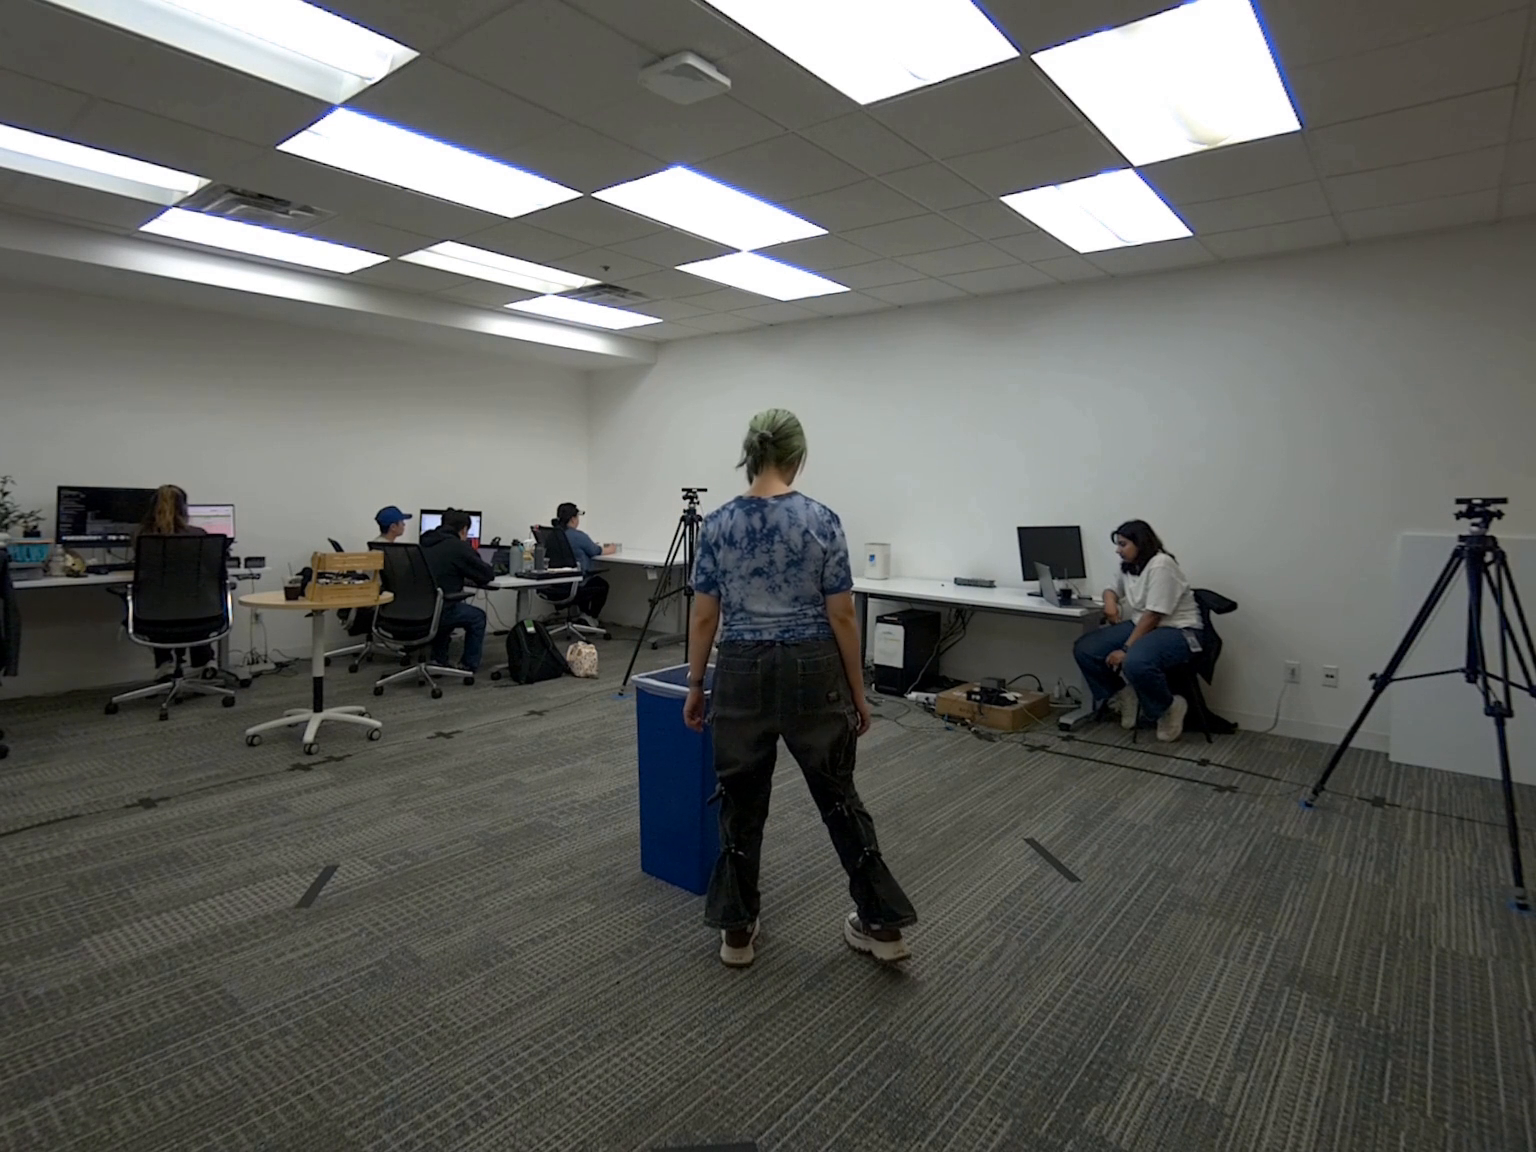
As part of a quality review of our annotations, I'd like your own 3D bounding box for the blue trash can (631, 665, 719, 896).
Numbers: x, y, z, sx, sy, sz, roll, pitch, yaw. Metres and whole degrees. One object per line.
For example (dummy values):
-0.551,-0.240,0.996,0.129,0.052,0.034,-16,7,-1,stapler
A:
-0.266,0.714,3.085,0.390,0.712,0.363,3,4,38,blue trash can
